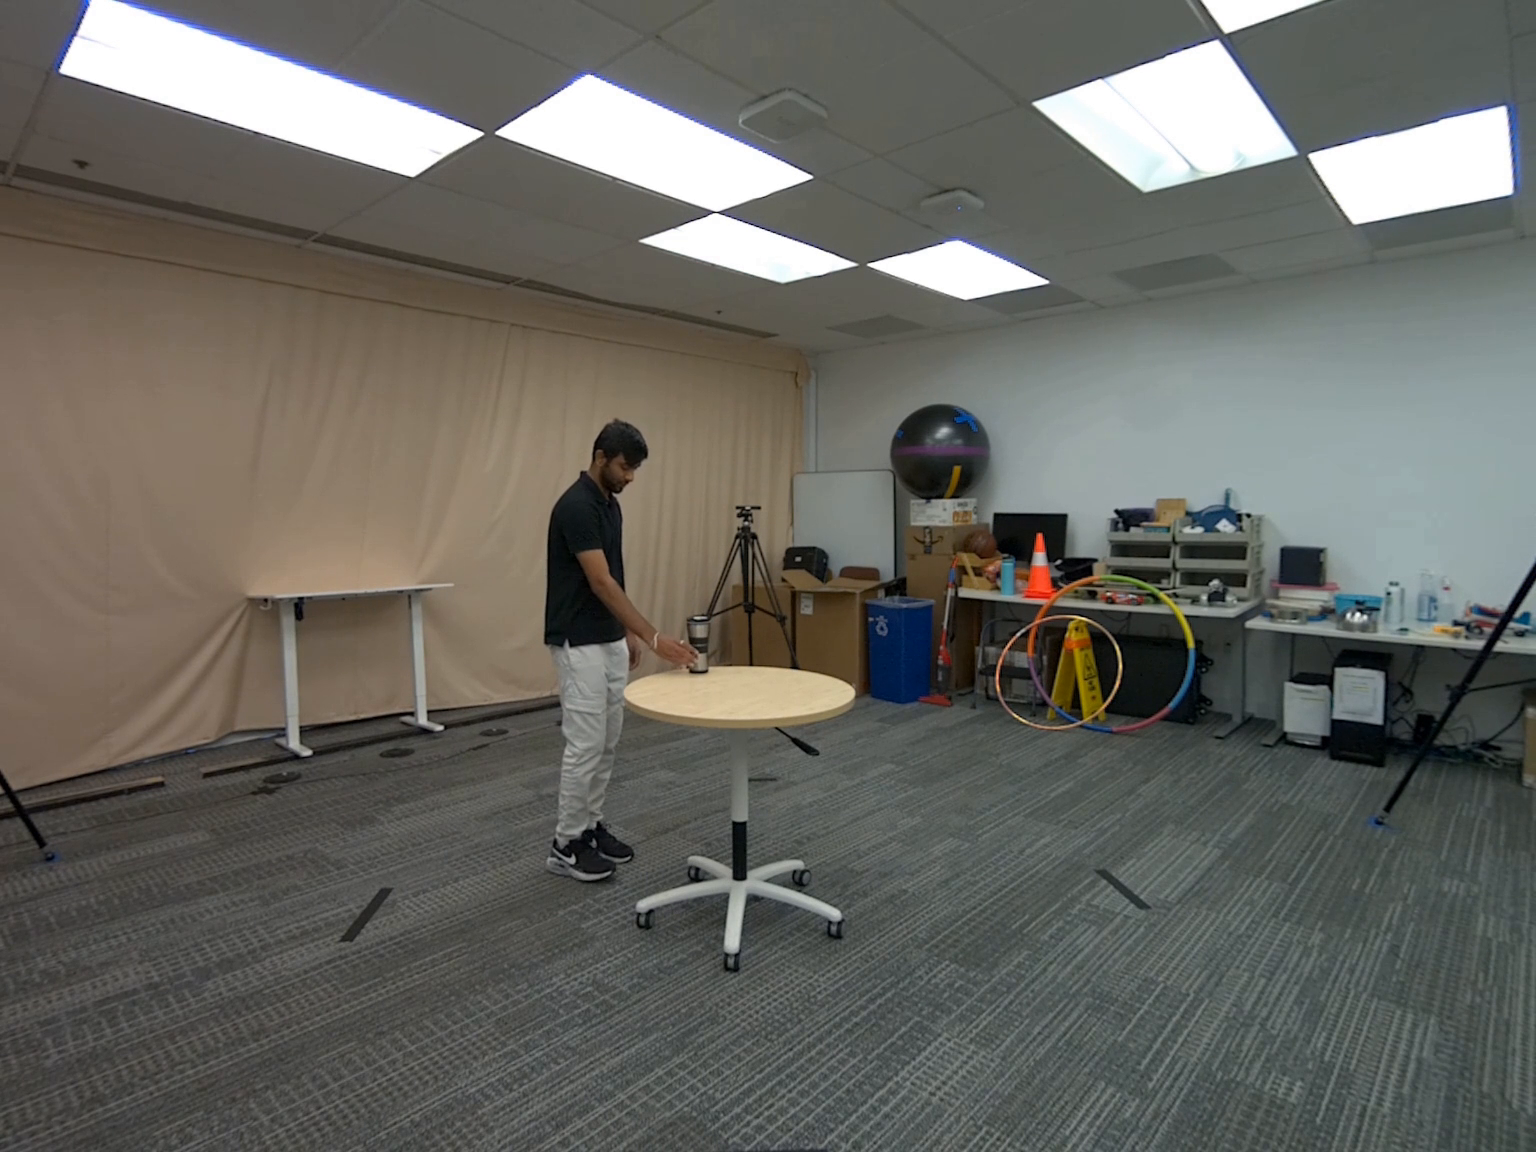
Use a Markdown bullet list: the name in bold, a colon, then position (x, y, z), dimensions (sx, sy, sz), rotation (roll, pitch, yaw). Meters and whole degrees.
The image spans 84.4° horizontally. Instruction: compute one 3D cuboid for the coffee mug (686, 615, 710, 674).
- **coffee mug**: position (-0.249, 0.249, 3.091), dimensions (0.089, 0.202, 0.120), rotation (0, 7, 15)
